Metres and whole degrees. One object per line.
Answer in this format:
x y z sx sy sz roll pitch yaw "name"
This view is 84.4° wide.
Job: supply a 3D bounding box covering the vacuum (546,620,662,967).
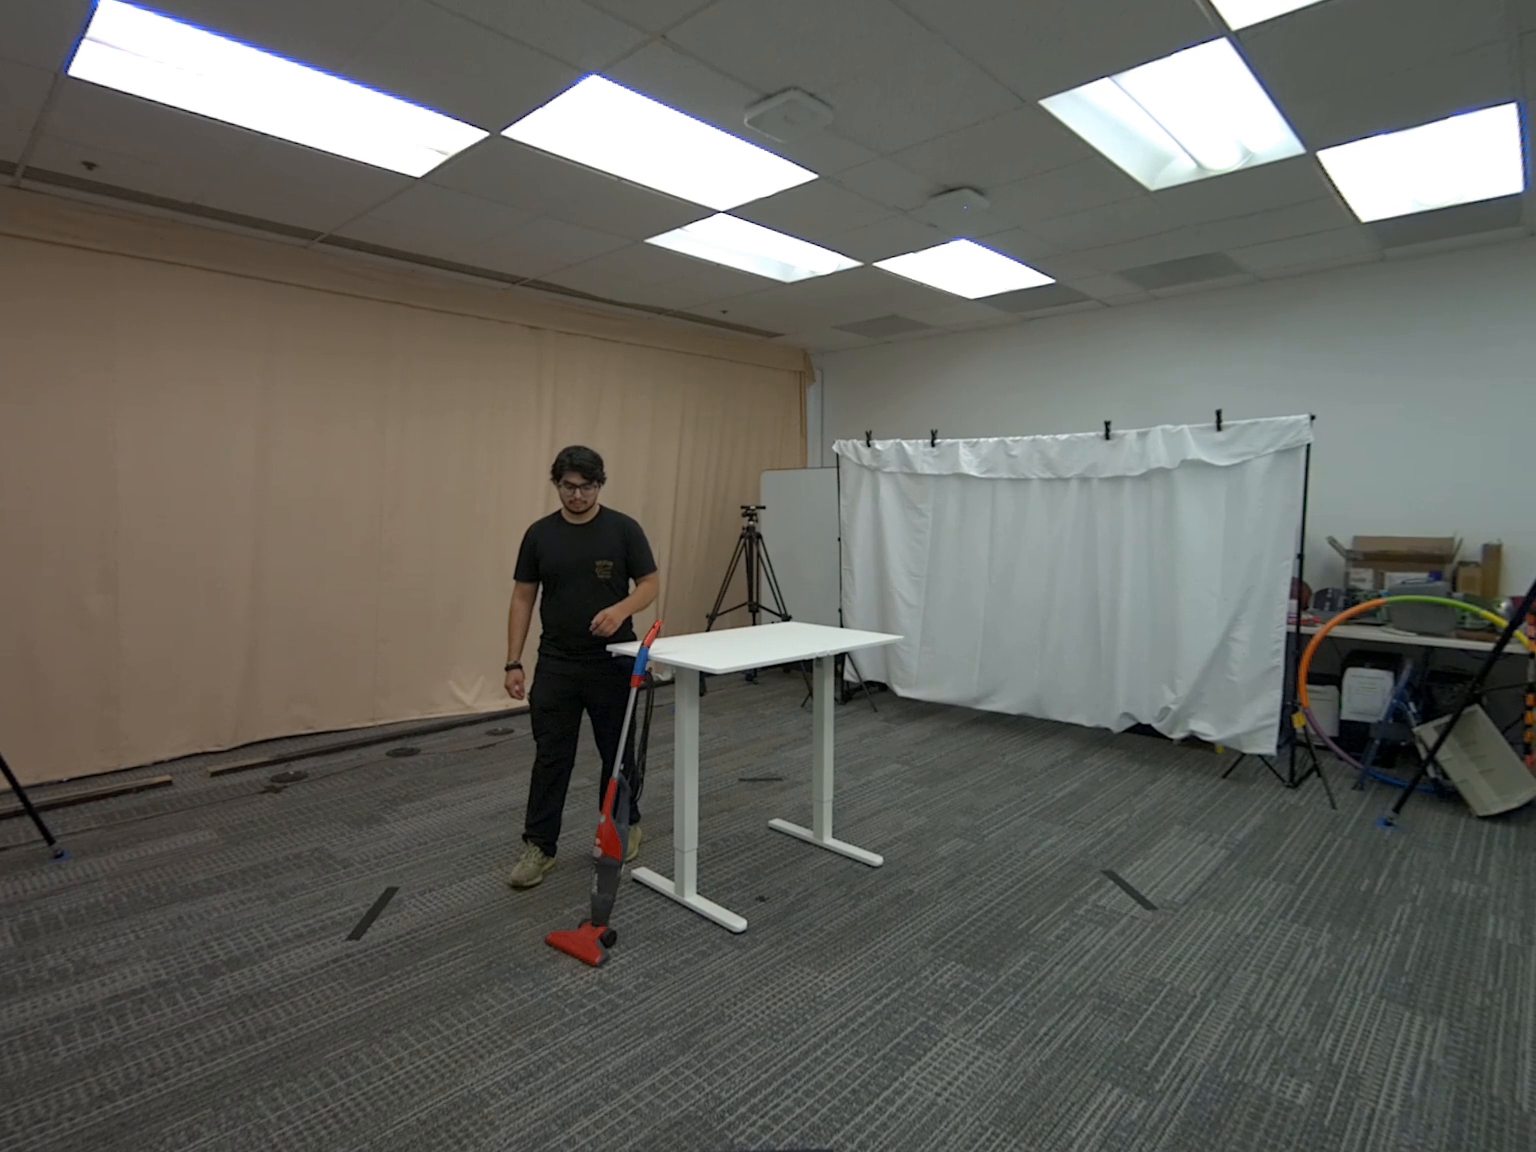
-0.480 0.668 2.788 0.260 1.055 0.139 1 -16 32 "vacuum"
